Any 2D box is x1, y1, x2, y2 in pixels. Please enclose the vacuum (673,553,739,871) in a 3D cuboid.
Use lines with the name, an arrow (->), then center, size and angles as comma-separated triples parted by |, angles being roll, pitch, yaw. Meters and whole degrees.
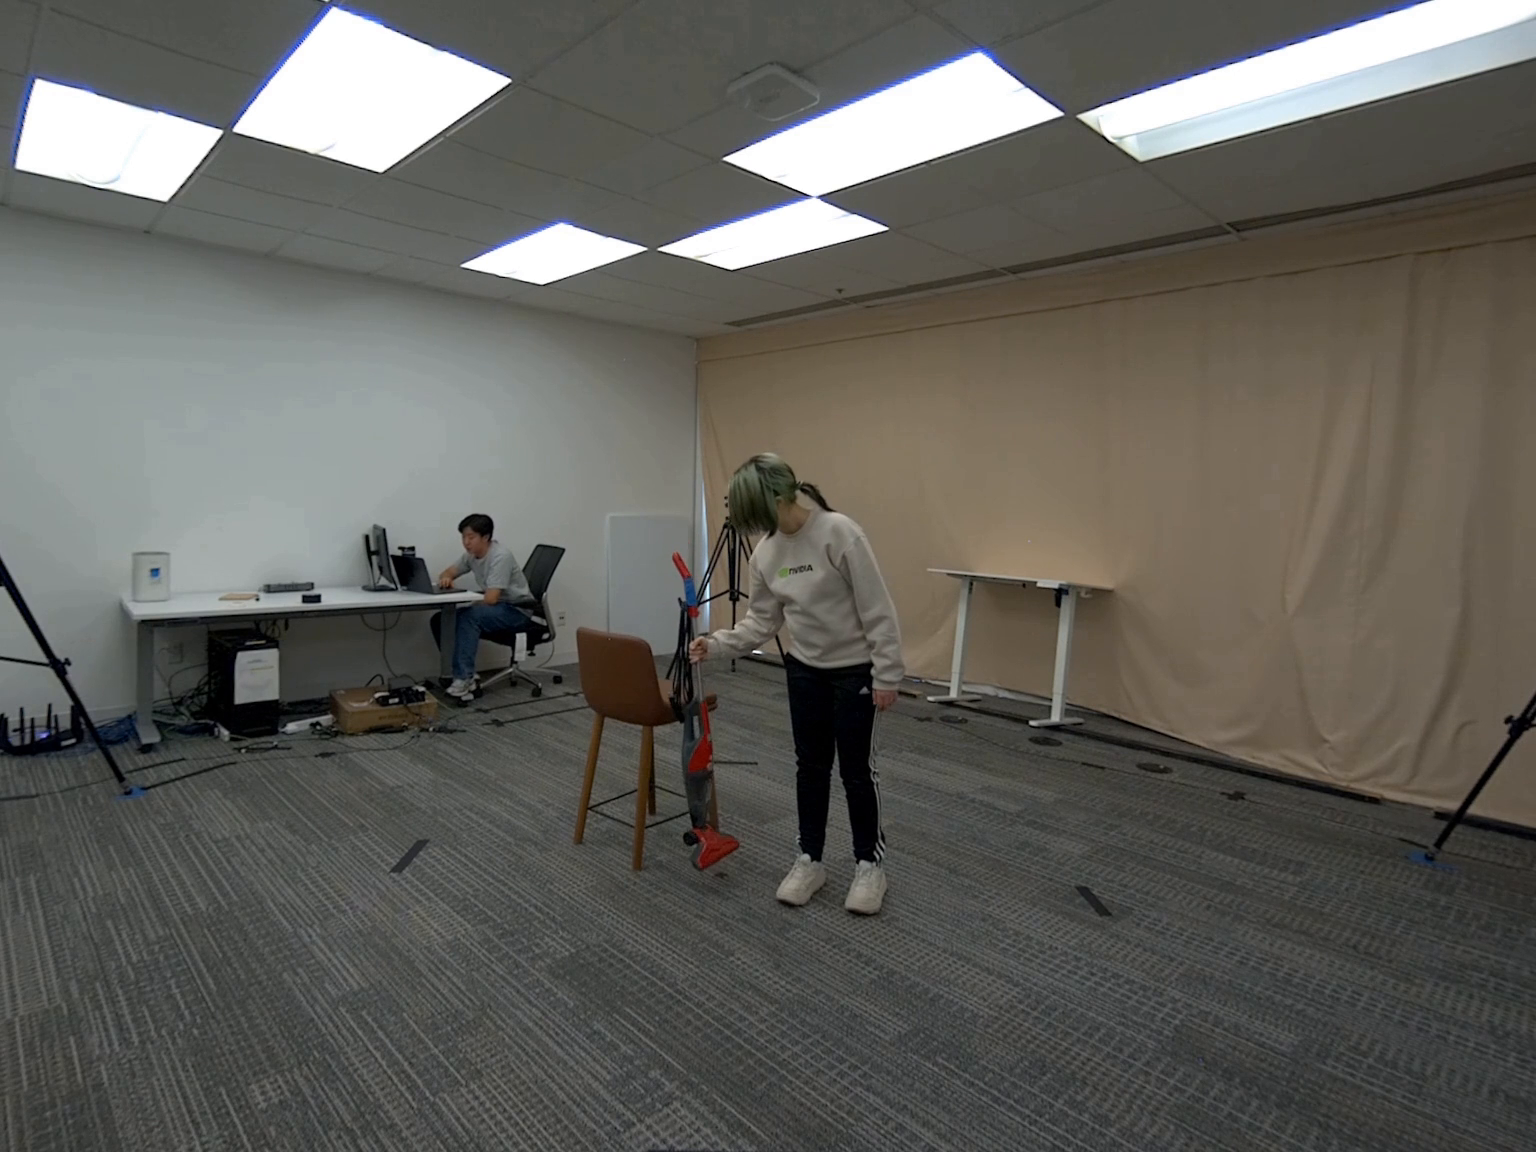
vacuum -> -0.272, 0.452, 3.043 | 0.147, 1.051, 0.247 | -9, -2, 37
